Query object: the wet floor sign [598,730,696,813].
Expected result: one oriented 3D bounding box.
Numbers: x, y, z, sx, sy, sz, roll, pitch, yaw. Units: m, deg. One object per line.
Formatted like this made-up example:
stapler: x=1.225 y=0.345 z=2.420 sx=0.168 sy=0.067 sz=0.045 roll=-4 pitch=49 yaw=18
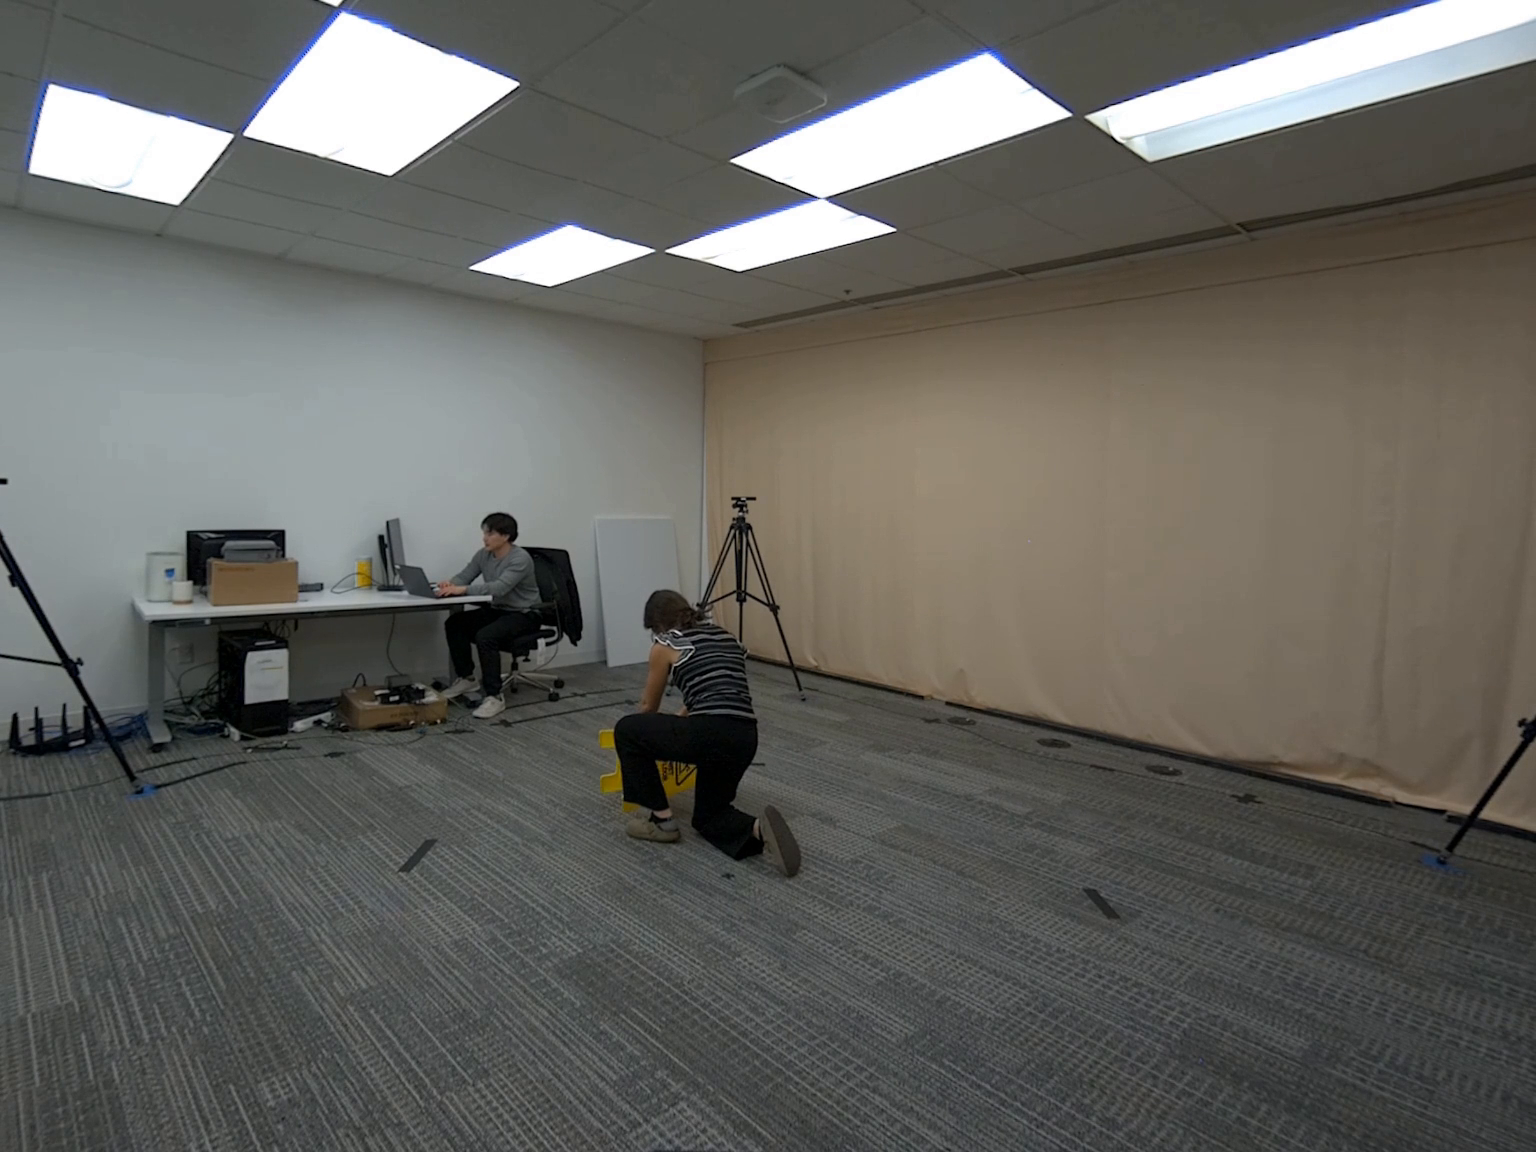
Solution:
wet floor sign: x=-0.428 y=0.845 z=3.868 sx=0.633 sy=0.281 sz=0.296 roll=-3 pitch=6 yaw=-31
